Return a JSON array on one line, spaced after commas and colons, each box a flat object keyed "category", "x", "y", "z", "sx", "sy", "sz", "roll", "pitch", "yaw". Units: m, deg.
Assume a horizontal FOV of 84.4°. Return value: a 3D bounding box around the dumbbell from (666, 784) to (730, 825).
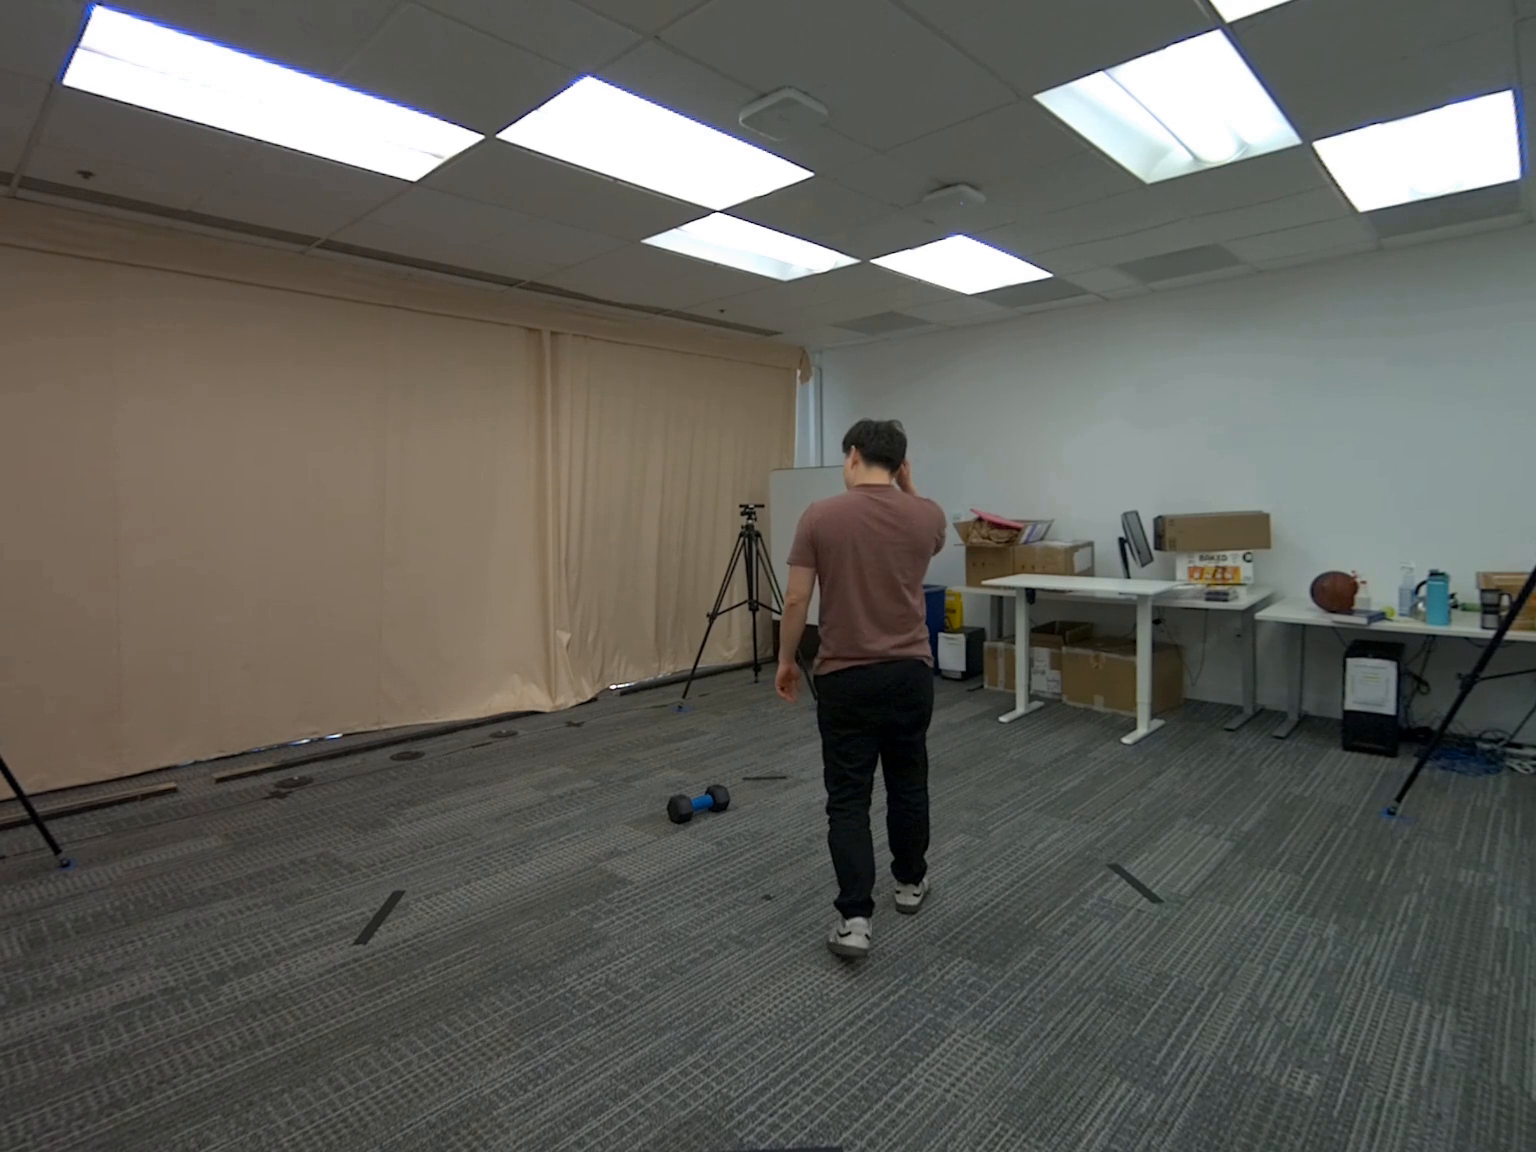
[{"category": "dumbbell", "x": -0.311, "y": 1.024, "z": 3.791, "sx": 0.285, "sy": 0.108, "sz": 0.127, "roll": -5, "pitch": 5, "yaw": -40}]
